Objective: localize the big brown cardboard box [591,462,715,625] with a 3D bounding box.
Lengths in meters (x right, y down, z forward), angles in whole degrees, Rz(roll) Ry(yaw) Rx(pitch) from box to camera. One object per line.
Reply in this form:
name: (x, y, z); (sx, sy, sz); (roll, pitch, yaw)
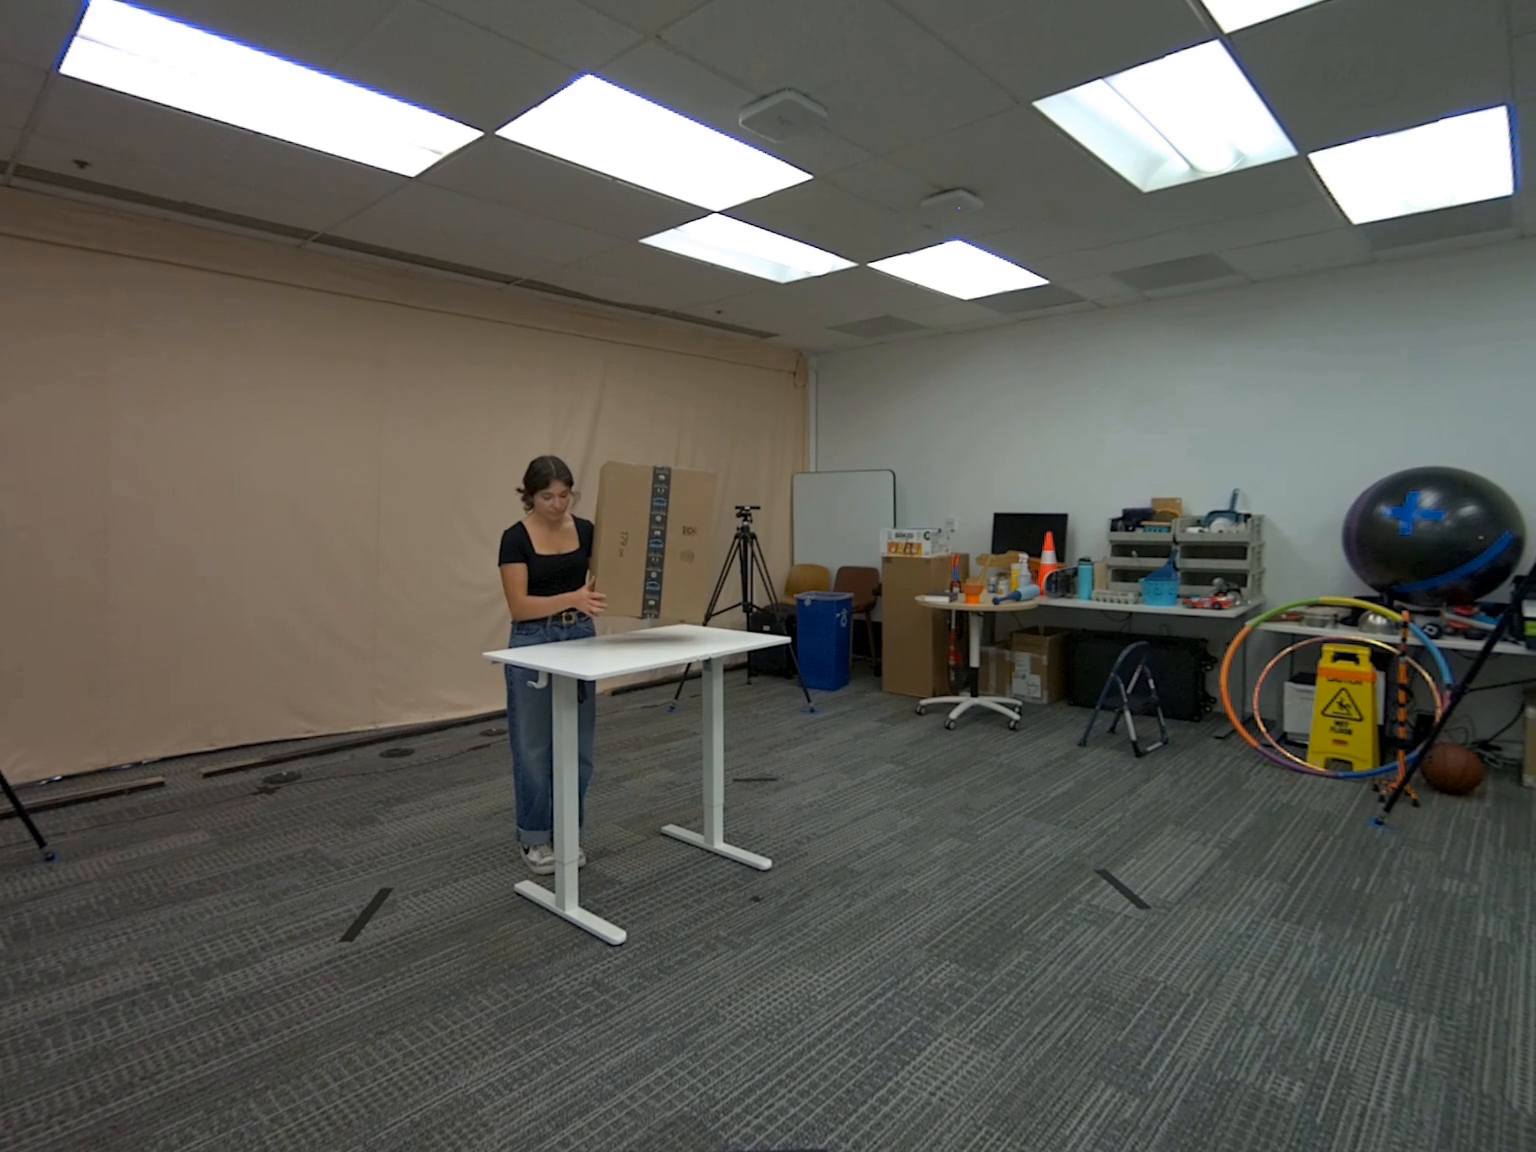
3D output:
big brown cardboard box: (-0.440, -0.119, 3.205); (0.411, 0.590, 0.236); (5, -3, -14)
